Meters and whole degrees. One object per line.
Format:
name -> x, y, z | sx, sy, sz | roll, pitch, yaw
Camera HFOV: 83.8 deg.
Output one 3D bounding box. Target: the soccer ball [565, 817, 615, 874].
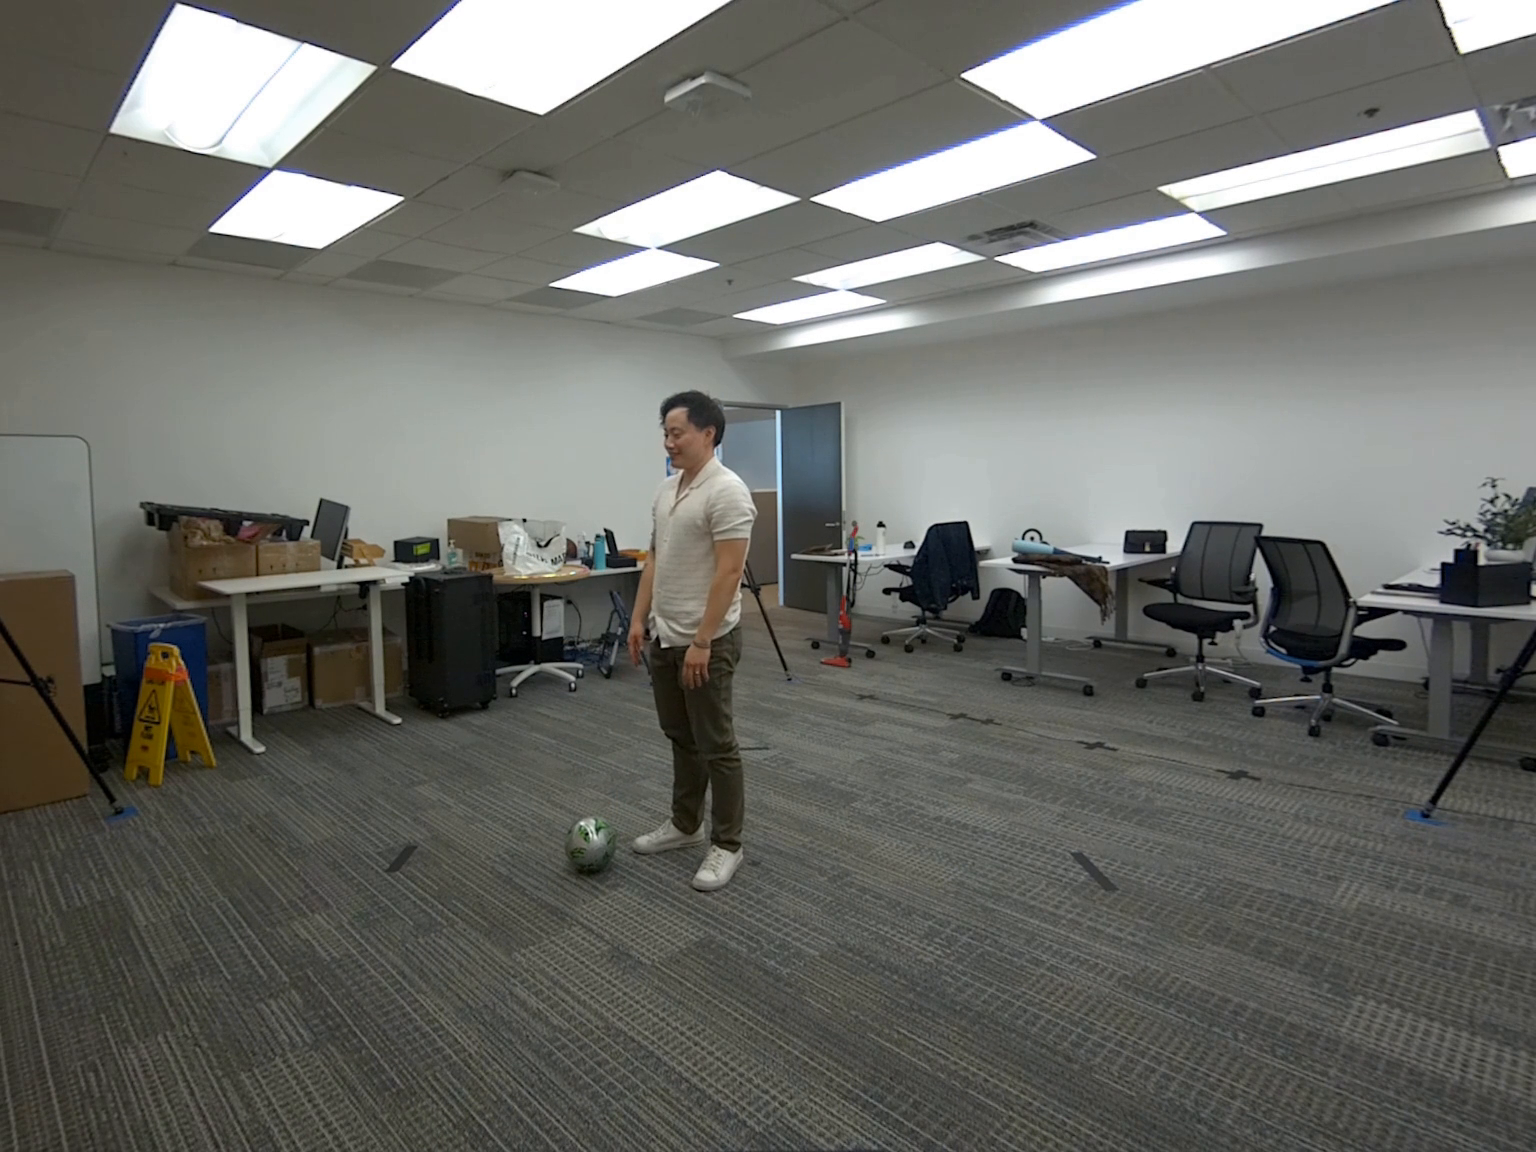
soccer ball -> -0.633, 0.964, 3.080 | 0.187, 0.187, 0.188 | -1, 5, -2
